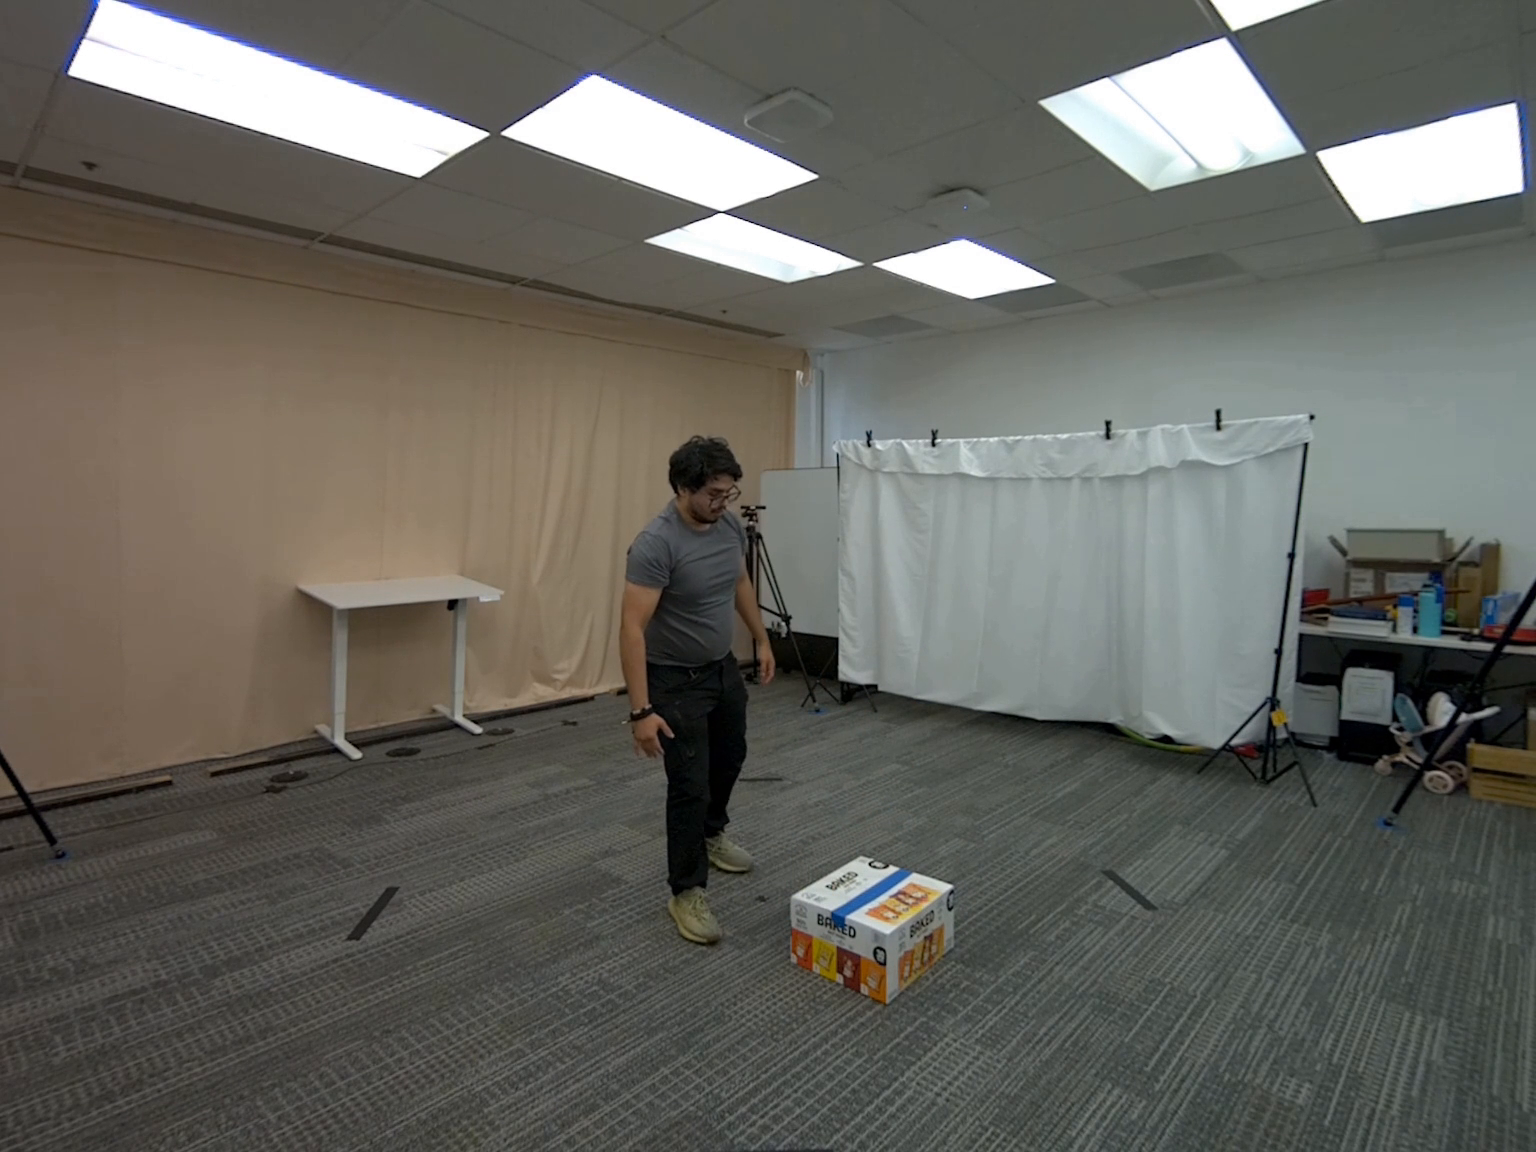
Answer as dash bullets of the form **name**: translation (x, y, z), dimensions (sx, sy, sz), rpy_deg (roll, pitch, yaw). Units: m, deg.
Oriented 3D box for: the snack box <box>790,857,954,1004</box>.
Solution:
- **snack box**: translation (0.332, 1.075, 2.596), dimensions (0.351, 0.205, 0.393), rpy_deg (4, 6, 40)
